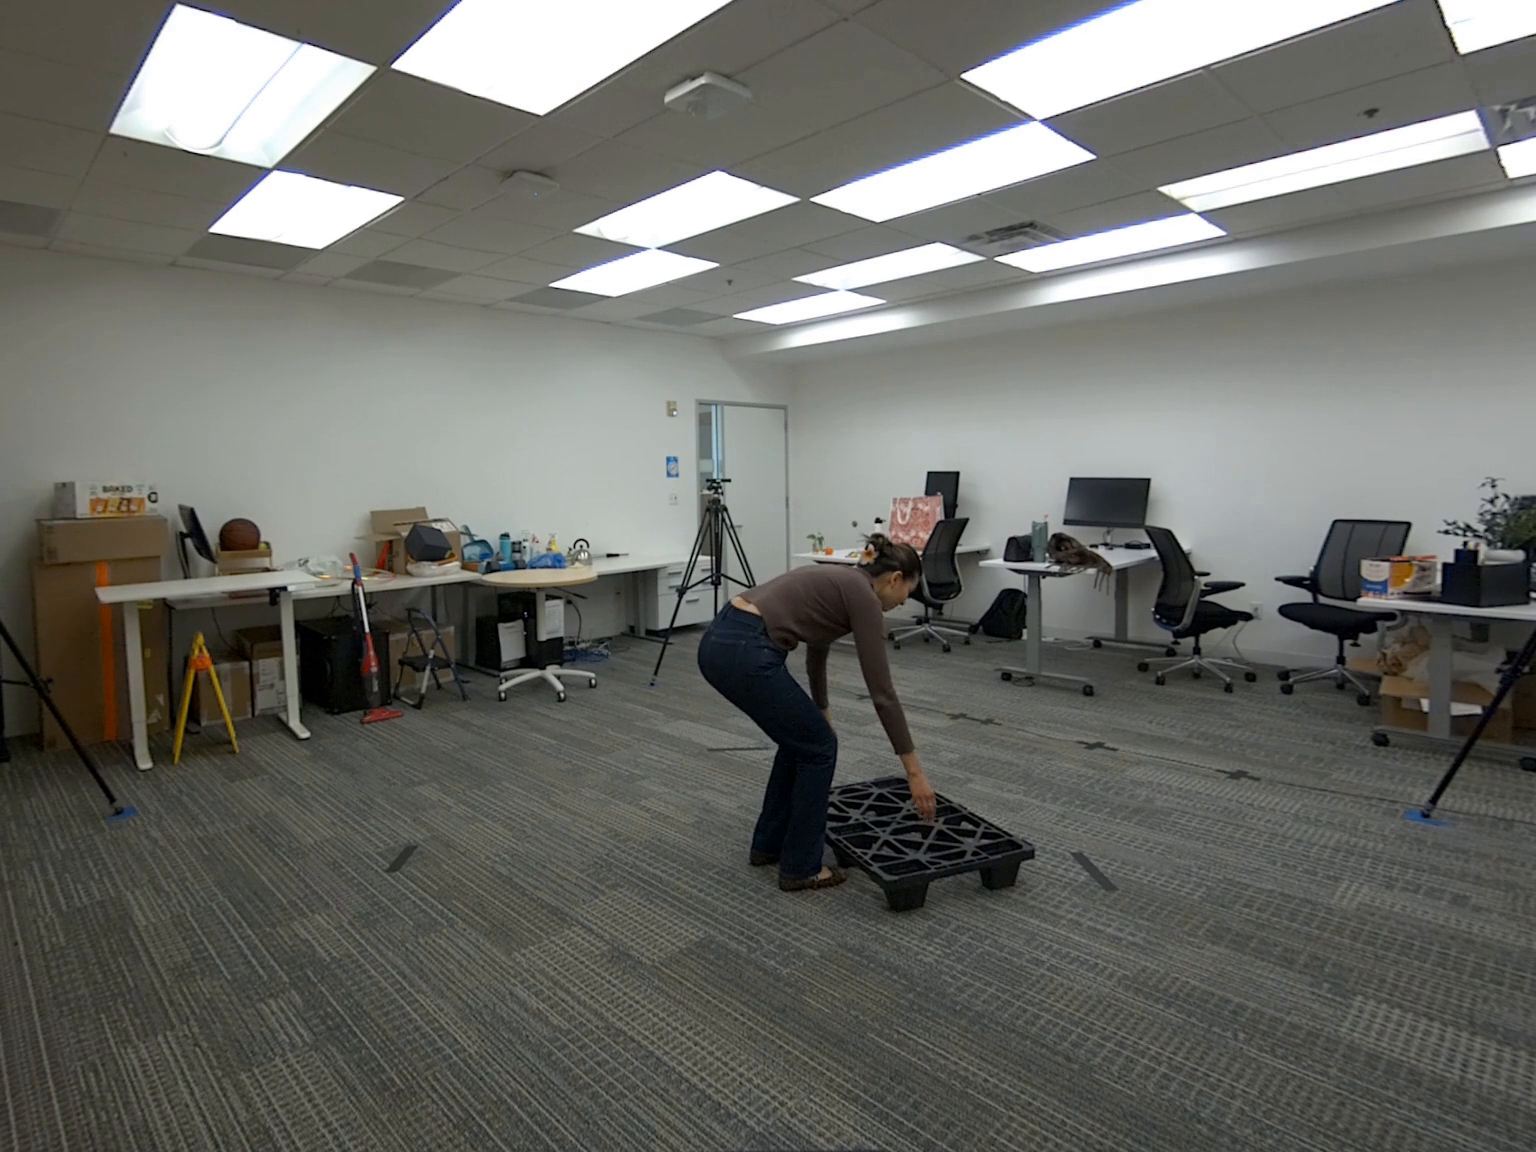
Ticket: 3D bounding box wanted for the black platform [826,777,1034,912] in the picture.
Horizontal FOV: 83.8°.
[{"bbox_3d":[0.478,0.966,3.151,0.594,0.143,0.825,-4,7,-23],"label":"black platform"}]
